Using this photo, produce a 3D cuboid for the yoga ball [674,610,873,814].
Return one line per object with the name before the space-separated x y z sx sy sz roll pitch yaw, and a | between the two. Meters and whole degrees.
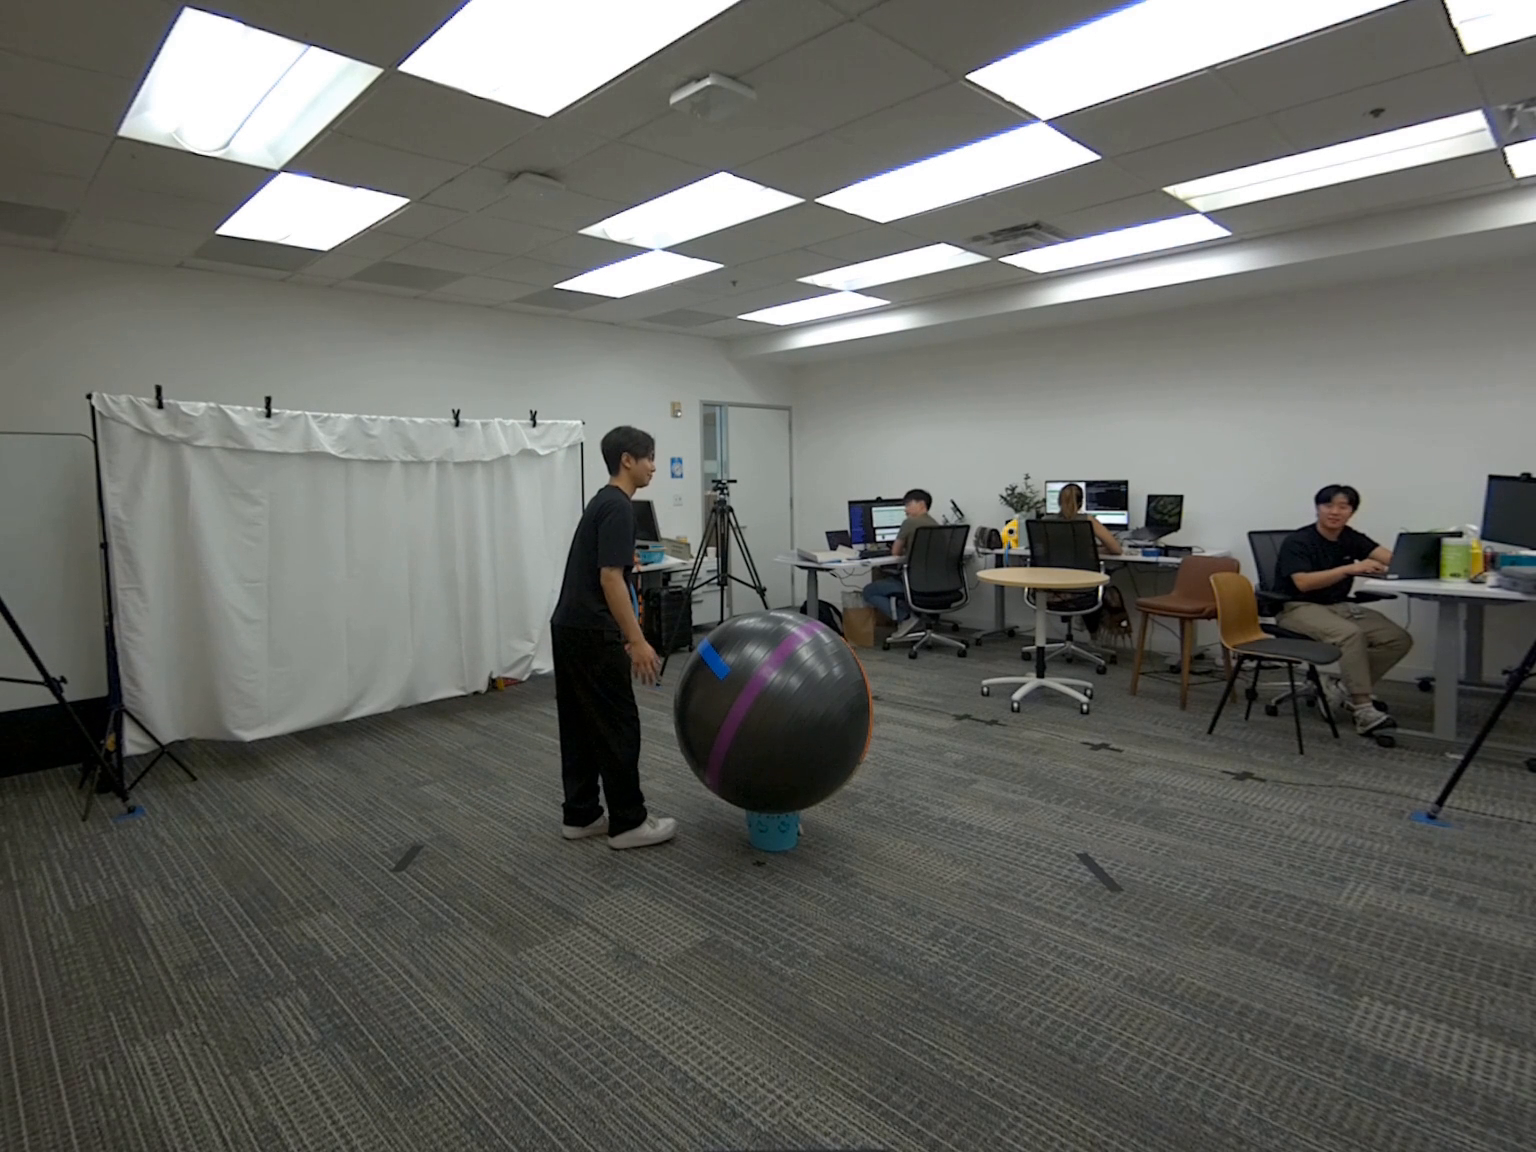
yoga ball | 0.024 0.514 3.272 0.757 0.755 0.762 -1 5 -2
